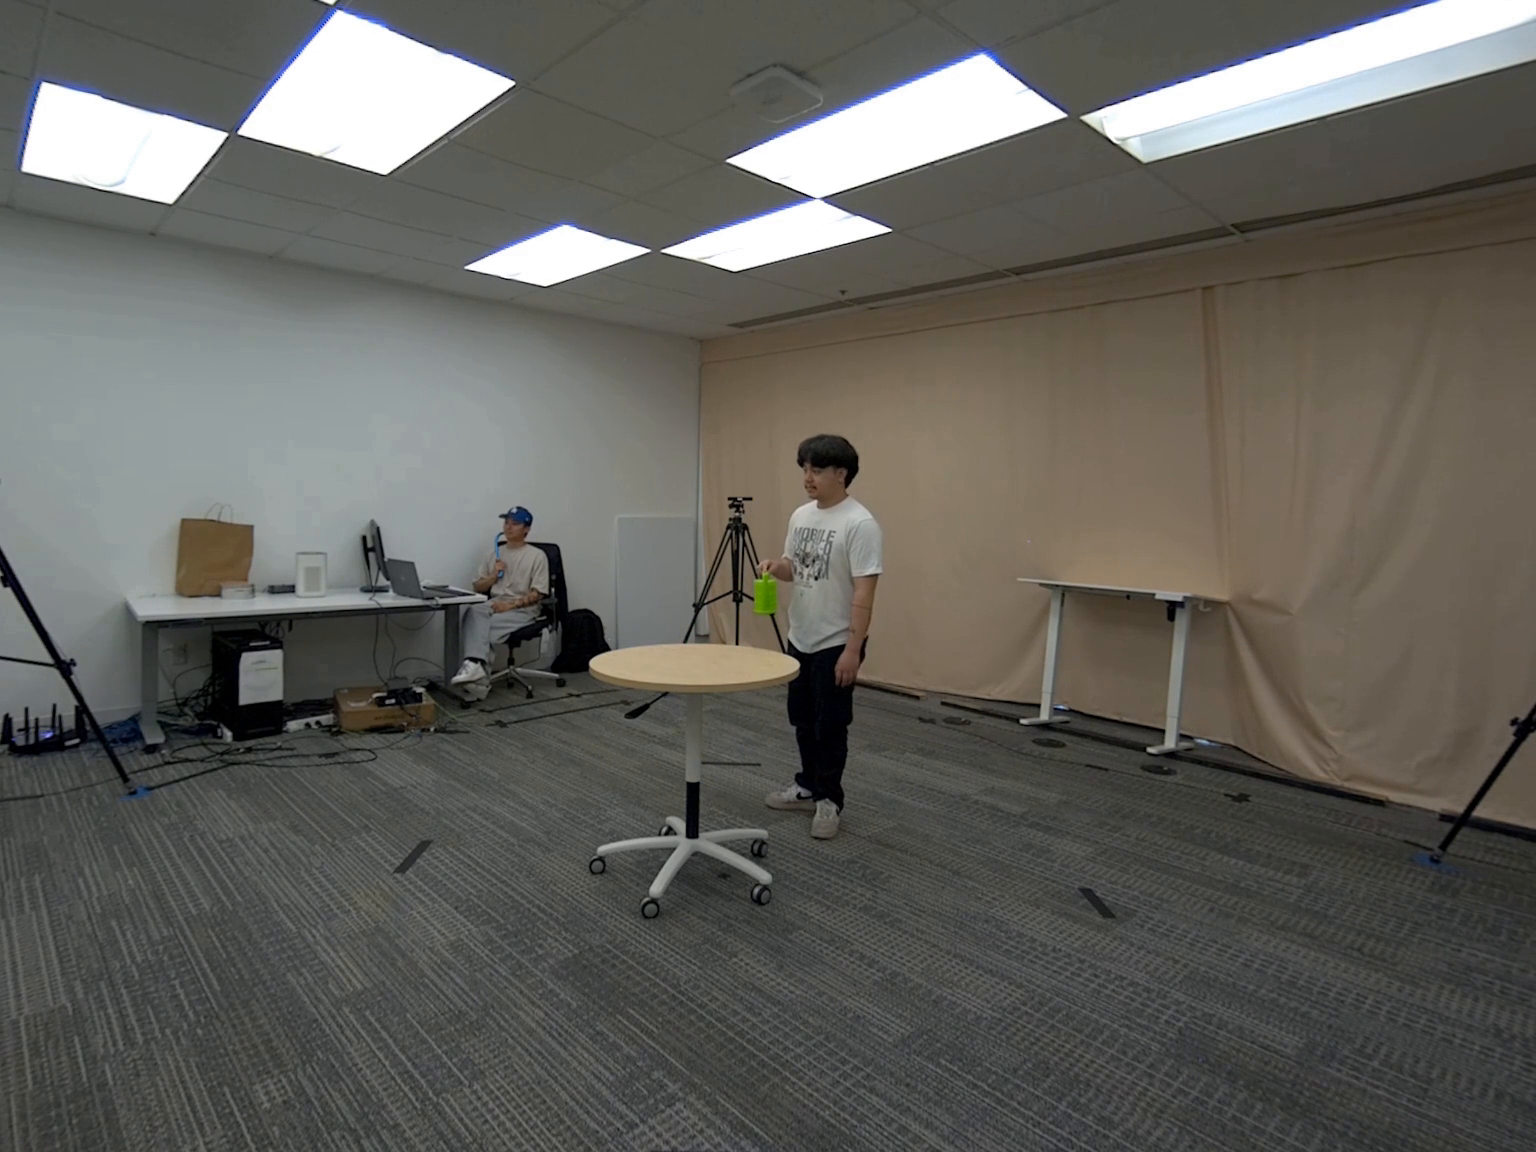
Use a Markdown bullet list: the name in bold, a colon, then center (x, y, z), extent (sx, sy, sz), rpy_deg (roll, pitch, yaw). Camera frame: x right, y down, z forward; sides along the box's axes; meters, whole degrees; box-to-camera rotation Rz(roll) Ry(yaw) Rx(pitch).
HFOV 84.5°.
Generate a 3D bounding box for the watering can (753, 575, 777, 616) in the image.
- **watering can**: center (-0.024, 0.070, 3.435), extent (0.099, 0.176, 0.277), rpy_deg (-3, 2, 8)
